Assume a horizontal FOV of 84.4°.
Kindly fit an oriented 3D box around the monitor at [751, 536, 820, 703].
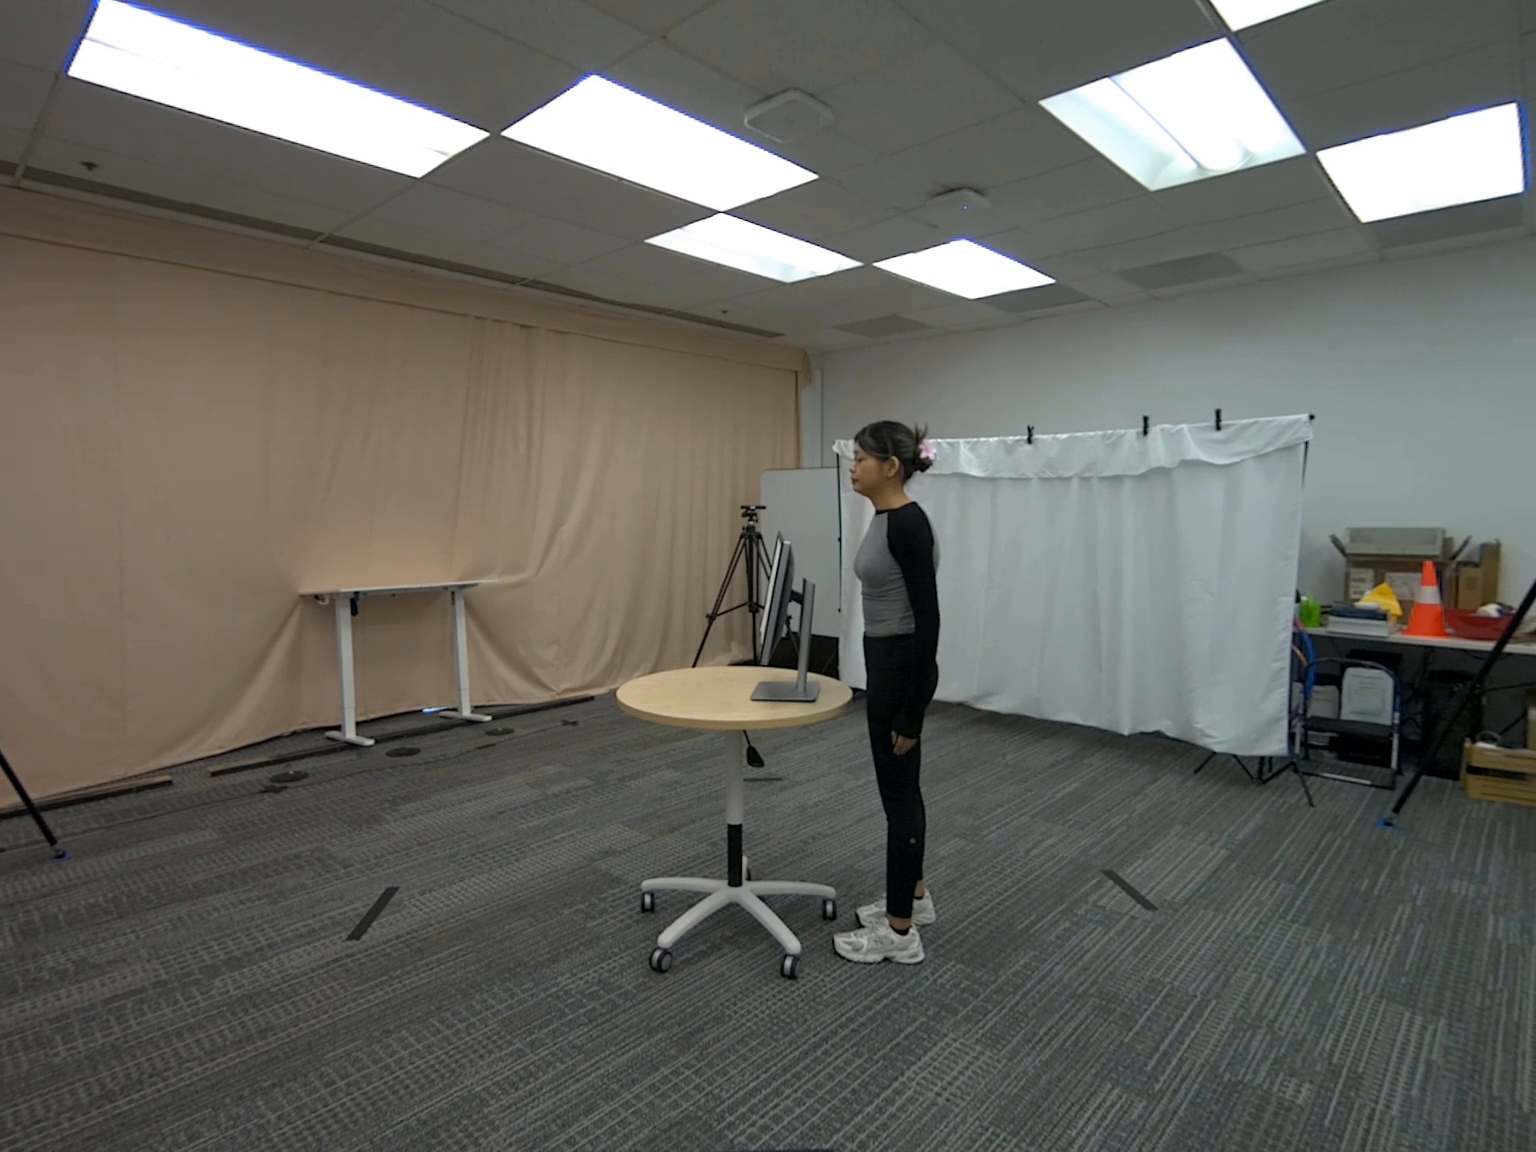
[{"bbox_3d":[0.065,0.131,2.695,0.187,0.521,0.540,-2,4,-1],"label":"monitor"}]
